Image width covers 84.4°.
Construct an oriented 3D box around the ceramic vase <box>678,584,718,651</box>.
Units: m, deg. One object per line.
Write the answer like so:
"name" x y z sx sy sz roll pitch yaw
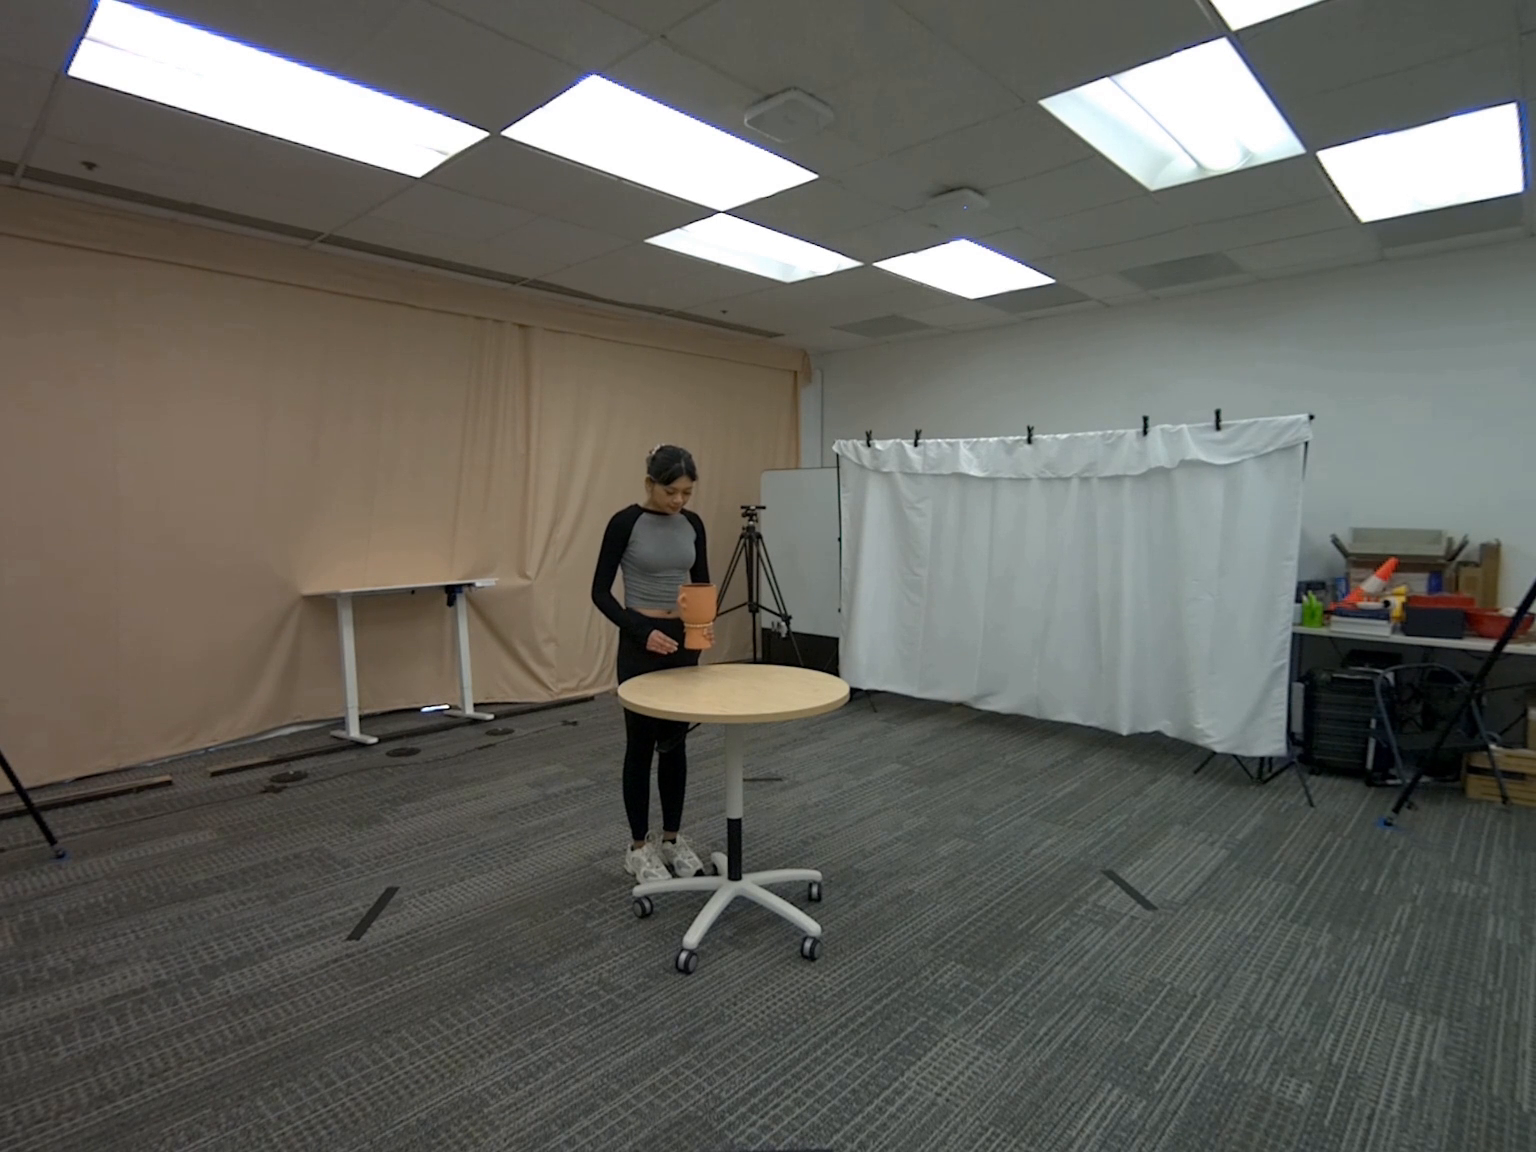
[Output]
"ceramic vase" -0.249 0.147 3.023 0.157 0.219 0.137 -1 6 -12
